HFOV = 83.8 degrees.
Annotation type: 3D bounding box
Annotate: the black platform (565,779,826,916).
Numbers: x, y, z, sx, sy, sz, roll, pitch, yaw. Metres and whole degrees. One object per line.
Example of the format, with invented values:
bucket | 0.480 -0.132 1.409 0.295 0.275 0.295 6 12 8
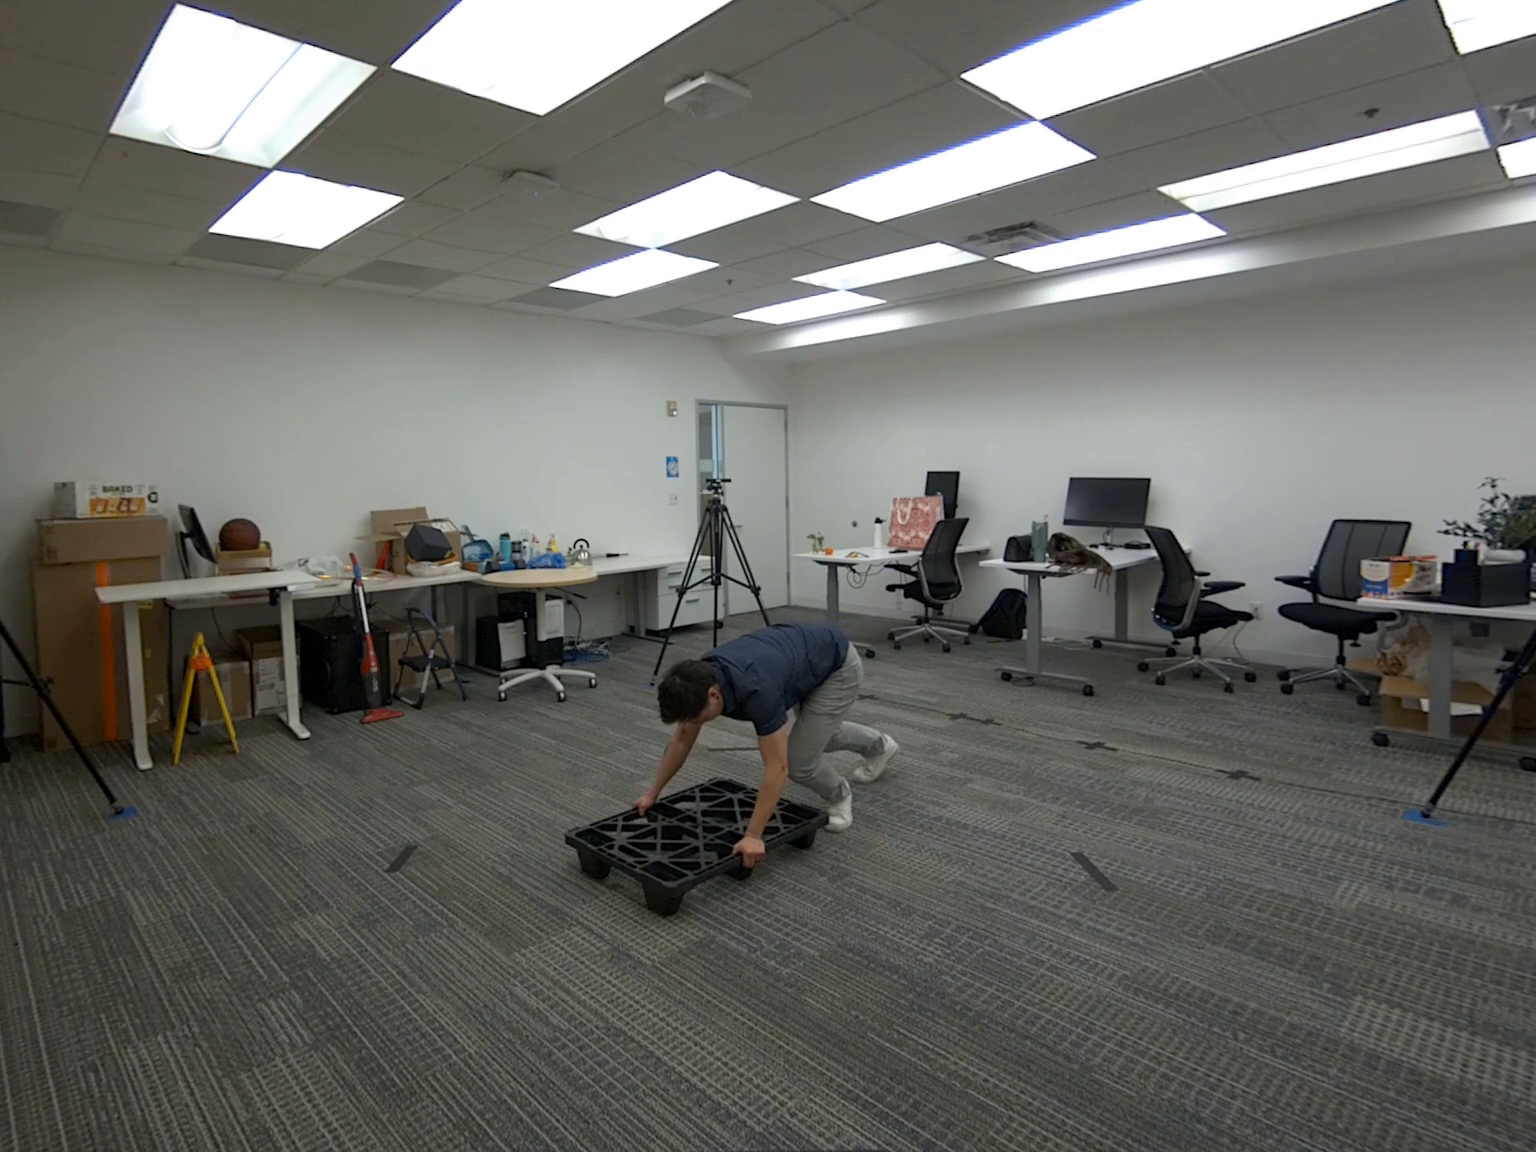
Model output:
black platform | -0.249 0.976 3.151 0.624 0.143 0.784 5 8 44
